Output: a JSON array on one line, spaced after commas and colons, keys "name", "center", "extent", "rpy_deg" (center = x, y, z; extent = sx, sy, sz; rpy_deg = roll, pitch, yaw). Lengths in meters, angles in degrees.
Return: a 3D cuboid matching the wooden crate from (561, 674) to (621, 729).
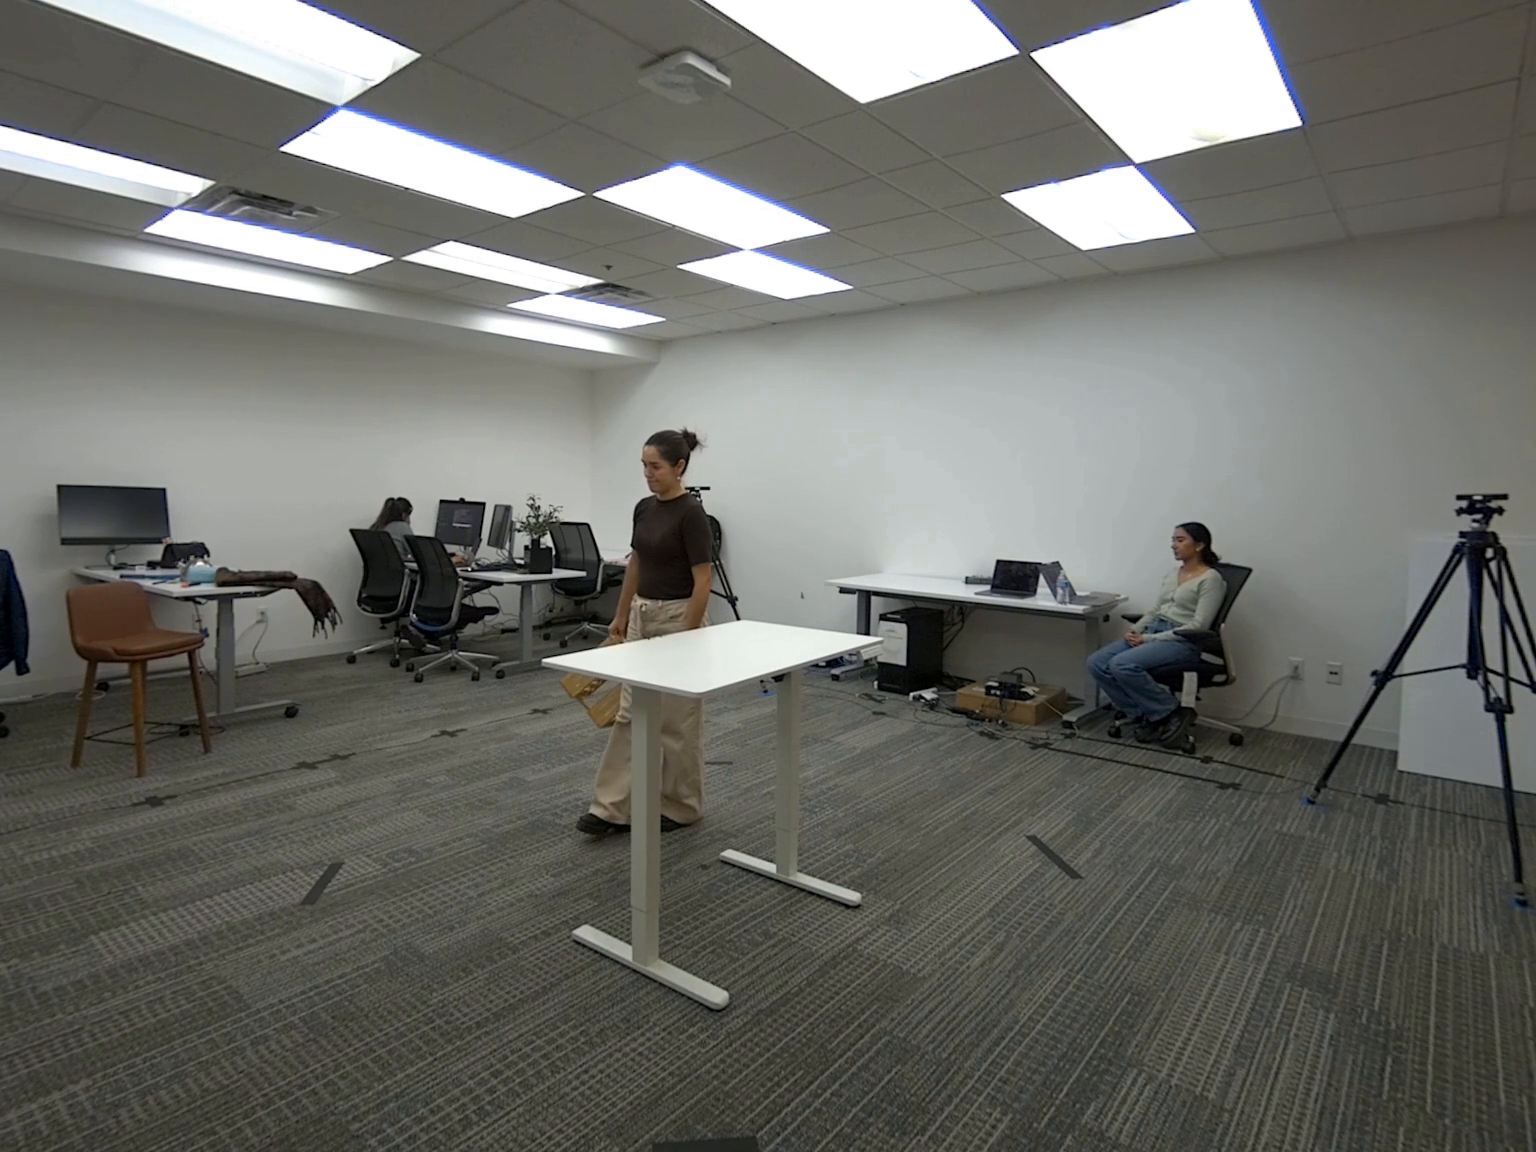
[{"name": "wooden crate", "center": [-0.691, 0.460, 3.726], "extent": [0.324, 0.279, 0.296], "rpy_deg": [-41, -13, 3]}]
